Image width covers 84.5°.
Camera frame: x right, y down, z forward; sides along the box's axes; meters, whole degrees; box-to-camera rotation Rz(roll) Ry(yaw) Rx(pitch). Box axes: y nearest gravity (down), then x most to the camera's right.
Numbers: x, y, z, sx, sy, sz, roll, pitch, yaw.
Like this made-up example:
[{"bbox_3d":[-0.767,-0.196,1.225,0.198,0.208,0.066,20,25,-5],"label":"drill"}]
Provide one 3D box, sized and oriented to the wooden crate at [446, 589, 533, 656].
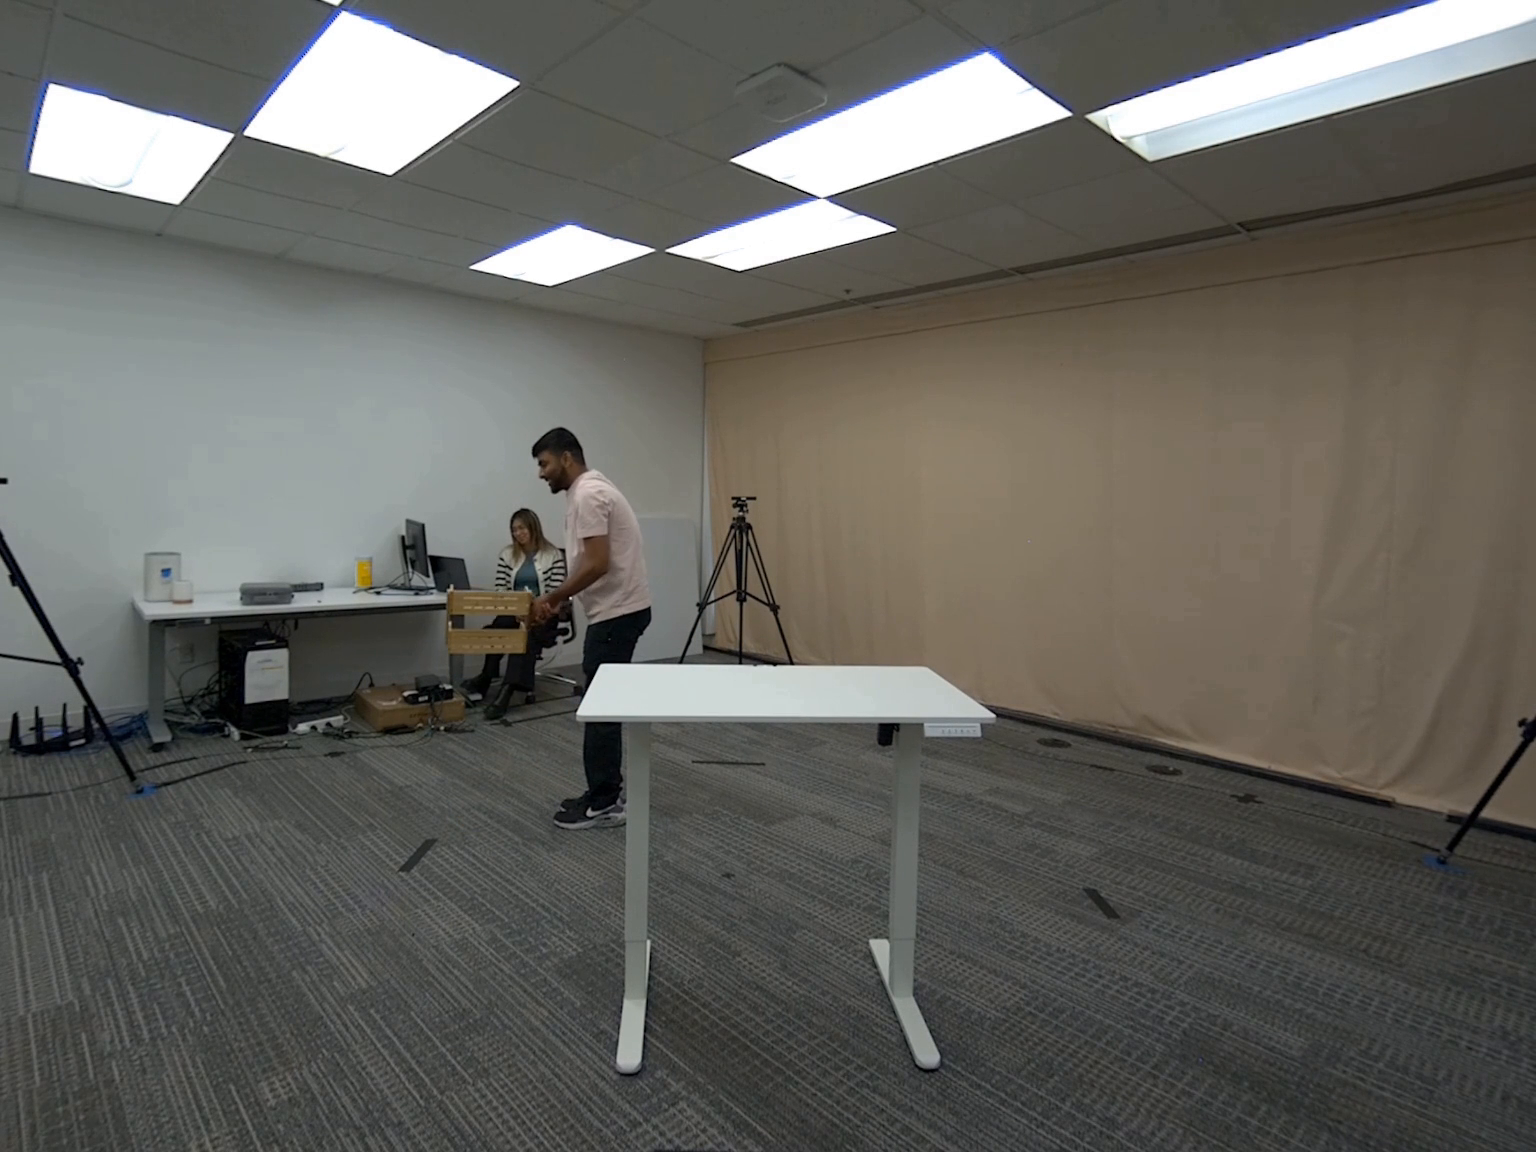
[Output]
[{"bbox_3d":[-1.162,0.169,3.453,0.320,0.272,0.308,1,9,-19],"label":"wooden crate"}]
